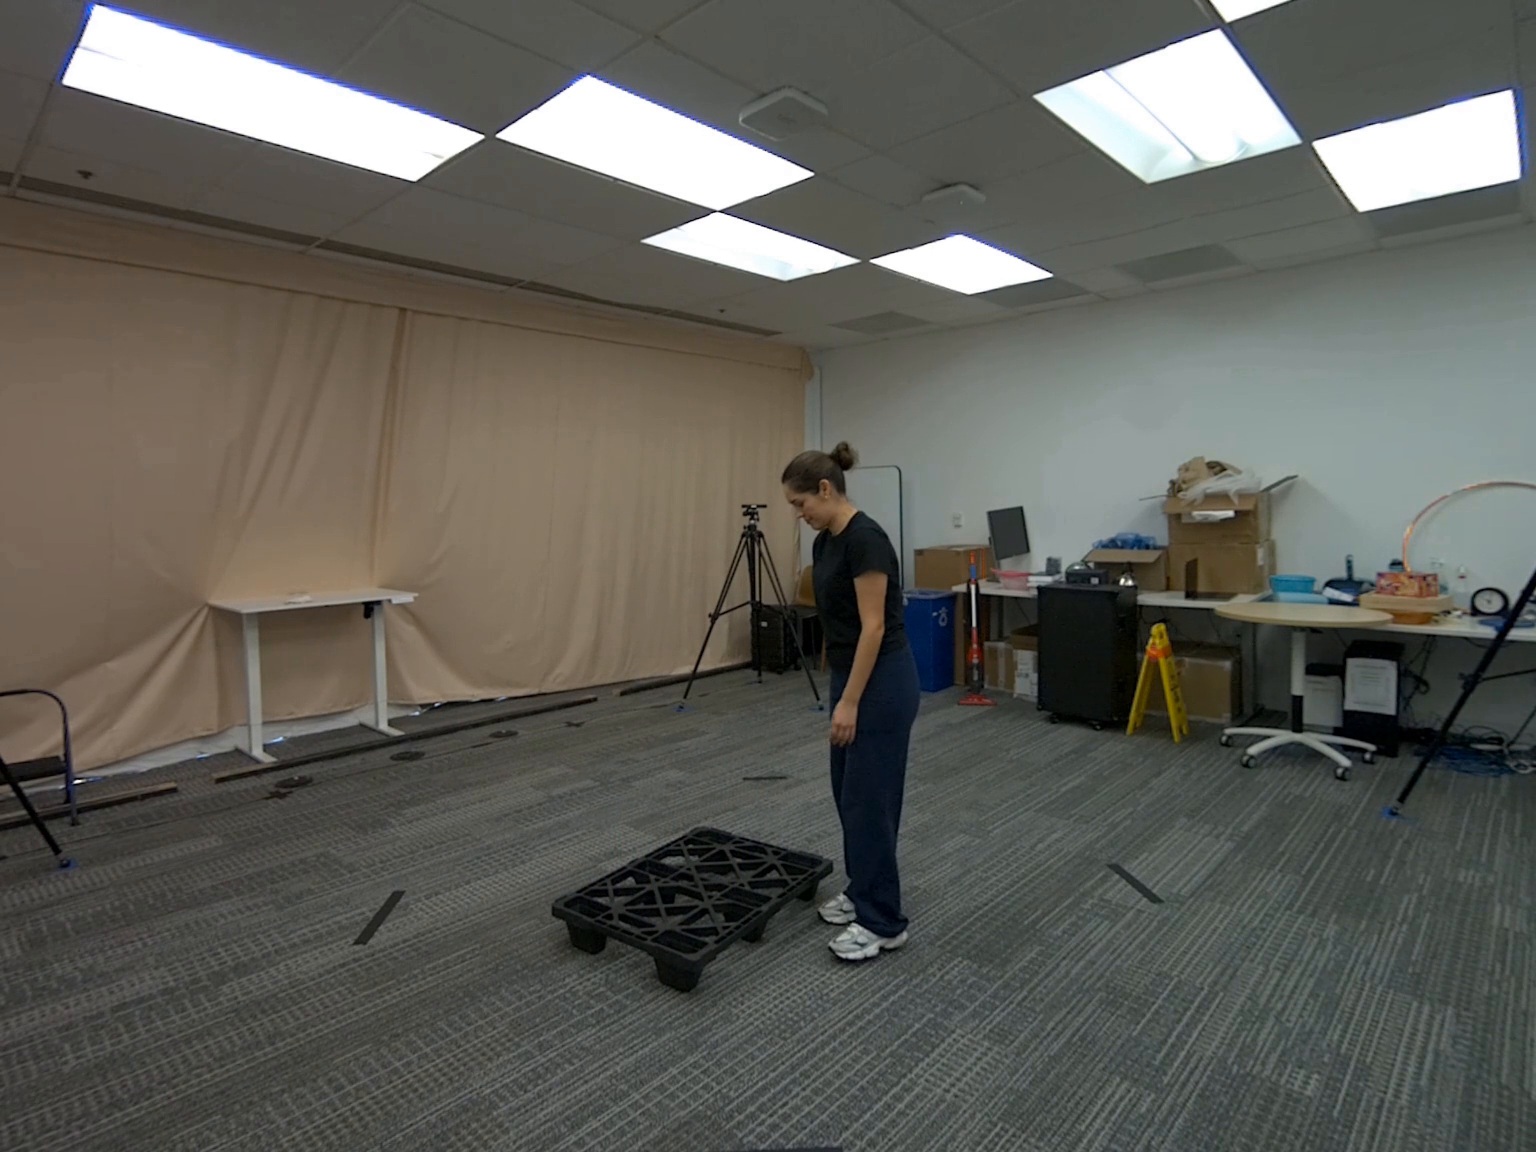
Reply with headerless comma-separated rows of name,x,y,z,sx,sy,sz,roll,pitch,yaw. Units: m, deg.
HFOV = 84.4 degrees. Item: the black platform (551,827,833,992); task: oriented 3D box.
black platform,-0.207,1.090,2.831,0.624,0.143,0.783,3,6,34
